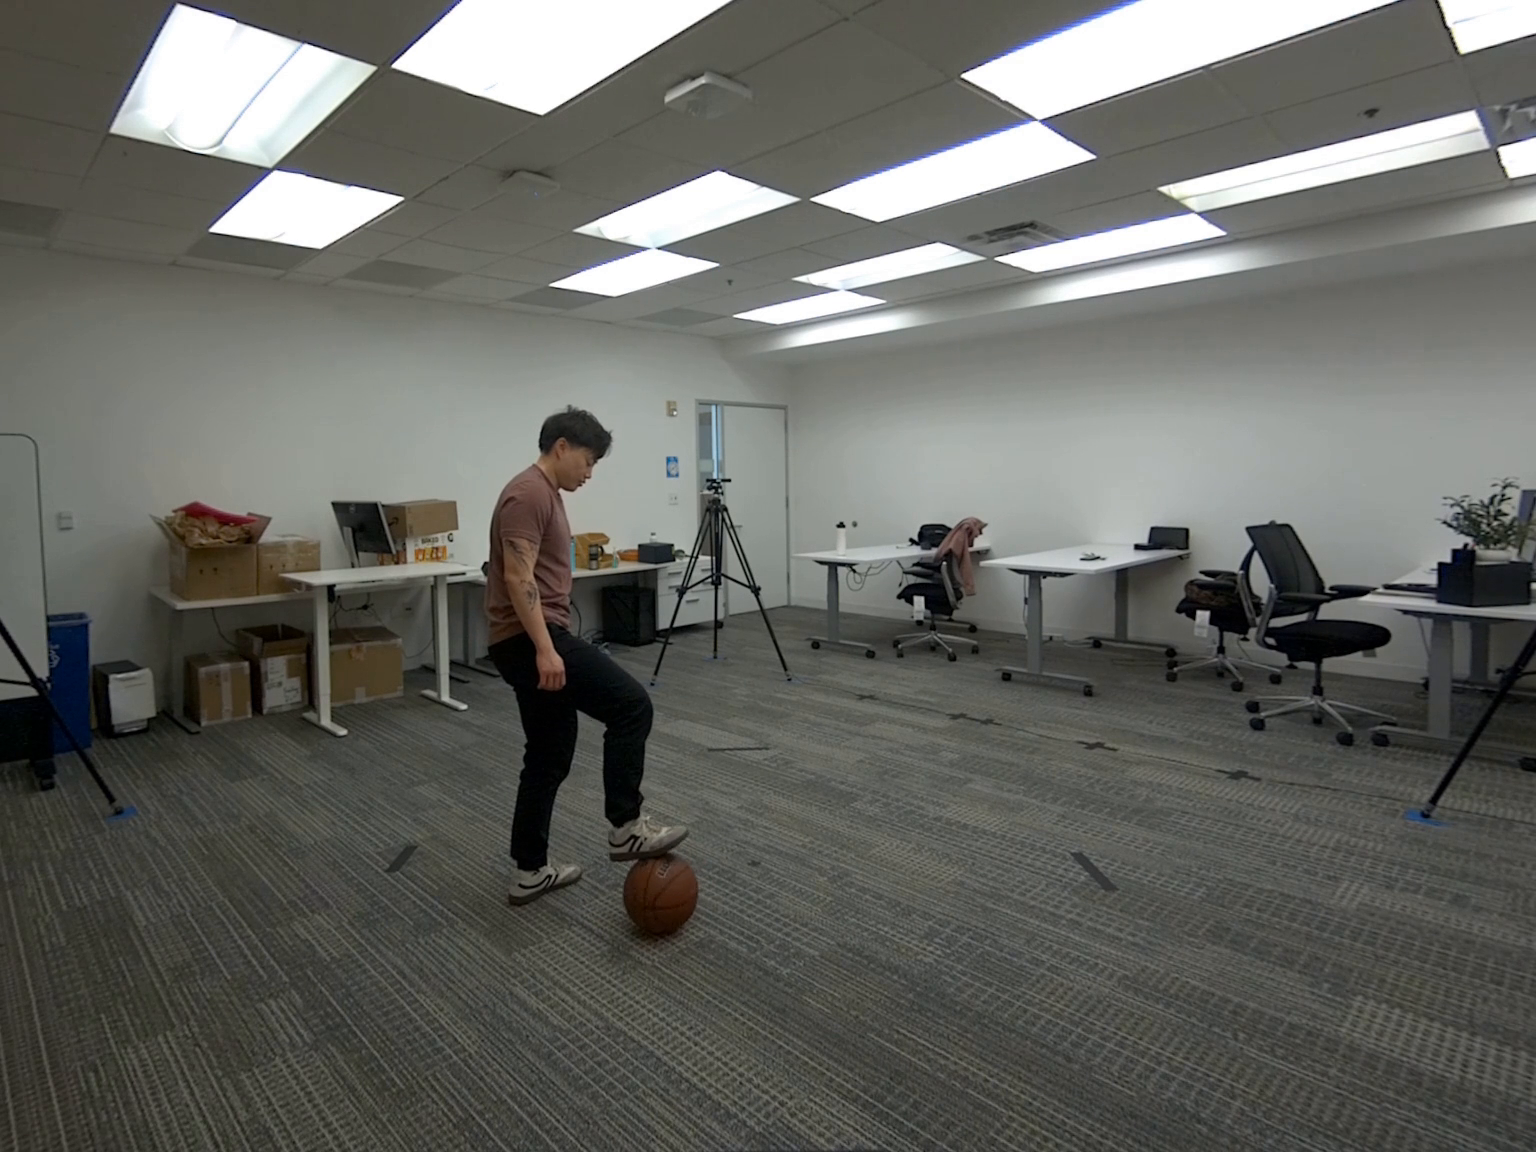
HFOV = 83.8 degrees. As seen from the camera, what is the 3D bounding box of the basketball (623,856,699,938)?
[{"bbox_3d":[-0.335,0.988,2.665,0.236,0.235,0.237,-1,5,-2],"label":"basketball"}]
